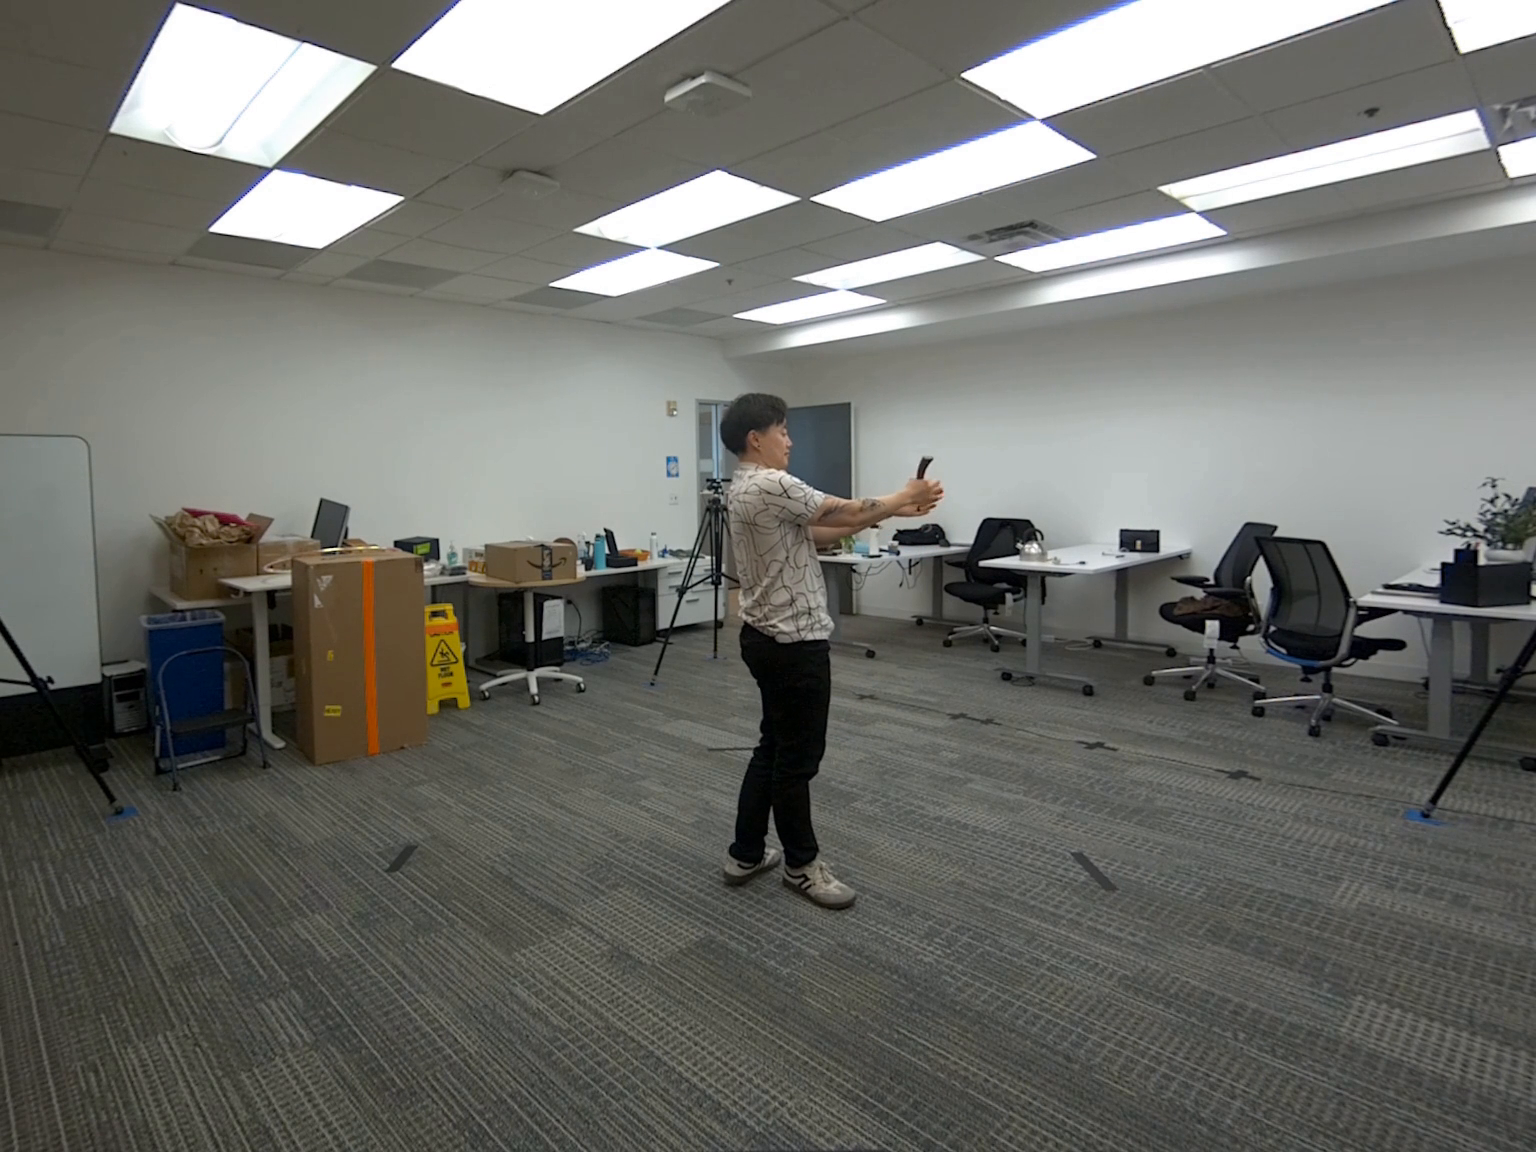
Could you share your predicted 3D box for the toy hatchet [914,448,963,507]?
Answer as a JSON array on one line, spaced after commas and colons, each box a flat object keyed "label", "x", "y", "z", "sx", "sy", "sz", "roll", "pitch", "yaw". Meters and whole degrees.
[{"label": "toy hatchet", "x": 0.556, "y": -0.323, "z": 2.890, "sx": 0.130, "sy": 0.030, "sz": 0.264, "roll": -8, "pitch": -31, "yaw": -7}]
